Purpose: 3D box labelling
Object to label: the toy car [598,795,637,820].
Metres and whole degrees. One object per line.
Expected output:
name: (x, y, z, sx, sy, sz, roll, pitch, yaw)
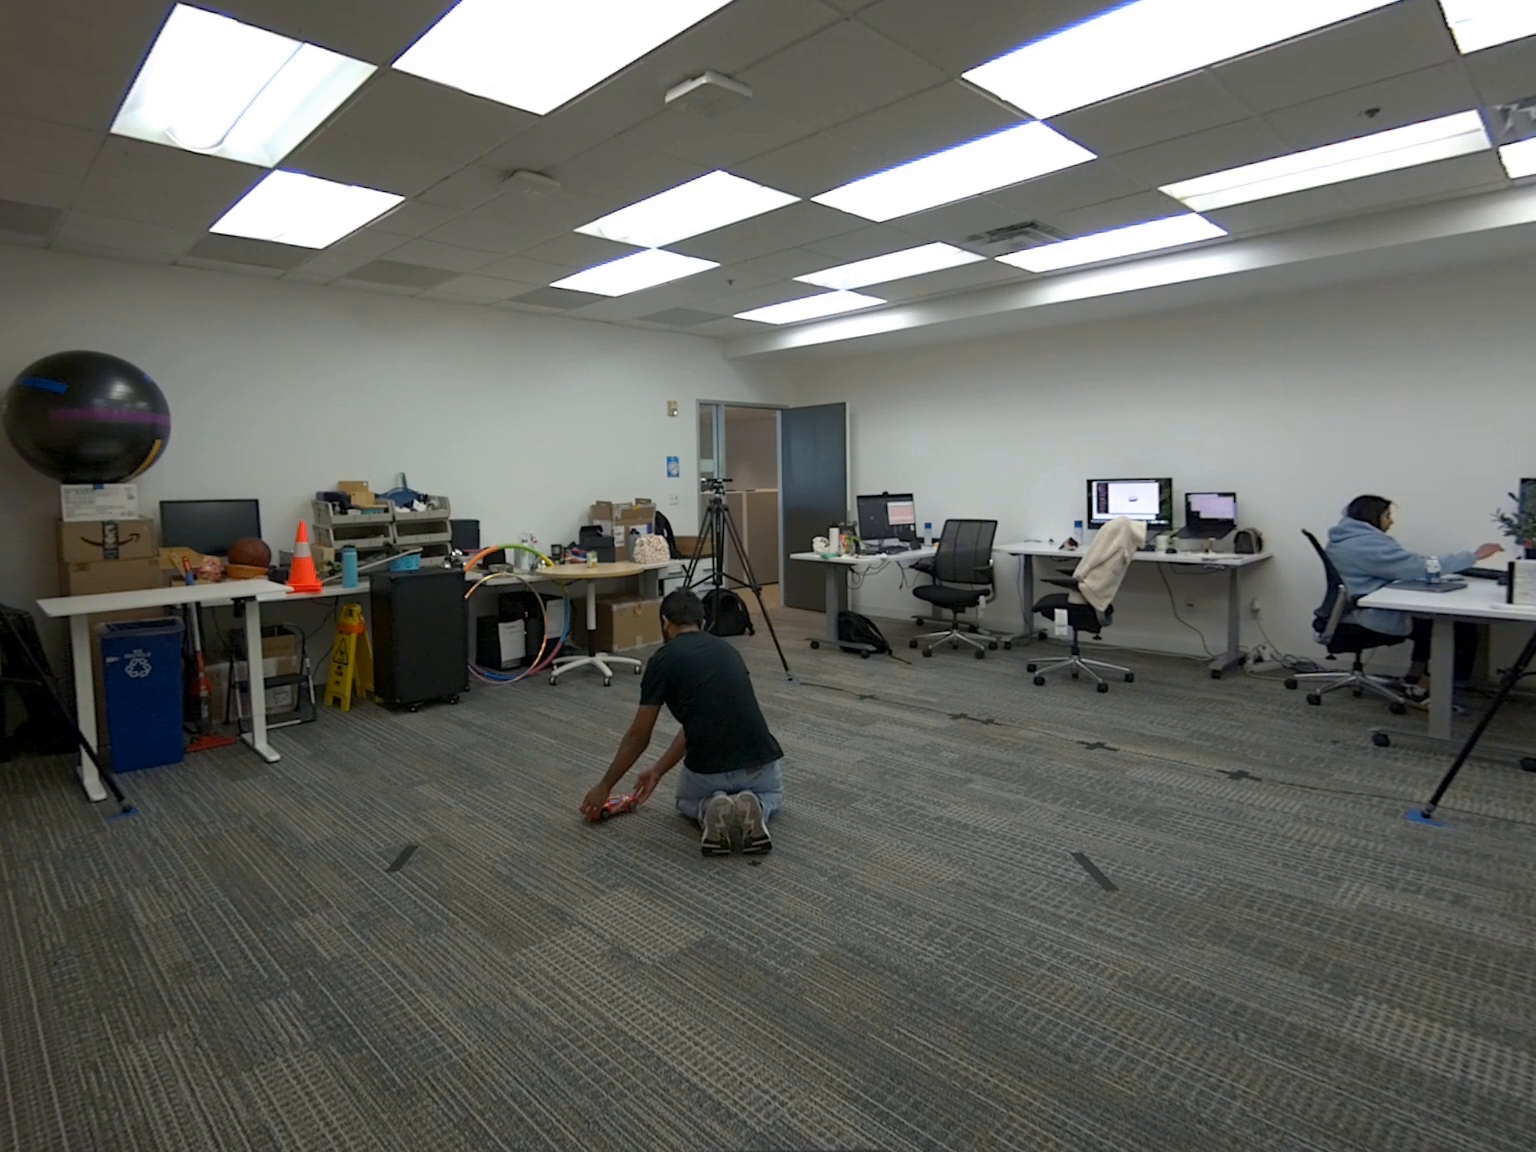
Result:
toy car: (-0.672, 0.956, 3.583, 0.246, 0.084, 0.134, 8, -9, -43)
